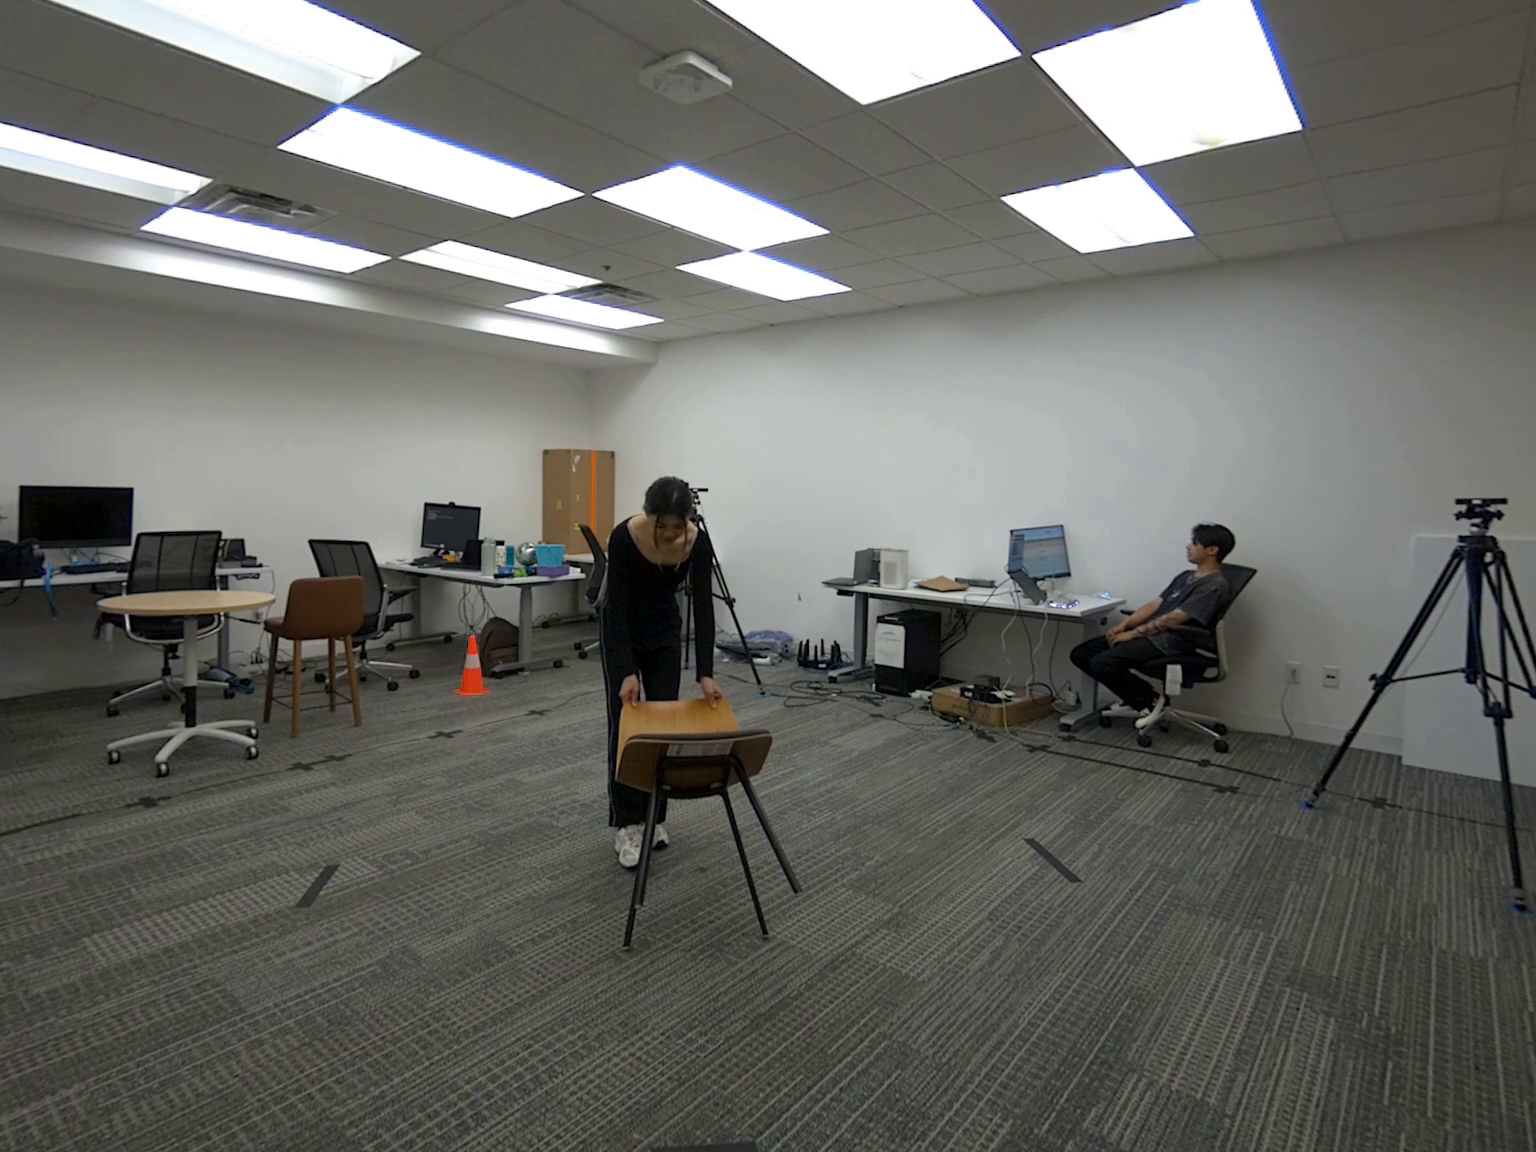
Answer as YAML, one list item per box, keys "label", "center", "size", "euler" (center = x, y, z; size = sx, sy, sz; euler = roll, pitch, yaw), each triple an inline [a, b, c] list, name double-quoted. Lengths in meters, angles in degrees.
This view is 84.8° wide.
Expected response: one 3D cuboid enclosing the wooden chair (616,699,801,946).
- label: "wooden chair"
  center: [-0.238, 0.631, 2.681]
  size: [0.472, 0.908, 0.512]
  euler: [-1, -42, -13]
